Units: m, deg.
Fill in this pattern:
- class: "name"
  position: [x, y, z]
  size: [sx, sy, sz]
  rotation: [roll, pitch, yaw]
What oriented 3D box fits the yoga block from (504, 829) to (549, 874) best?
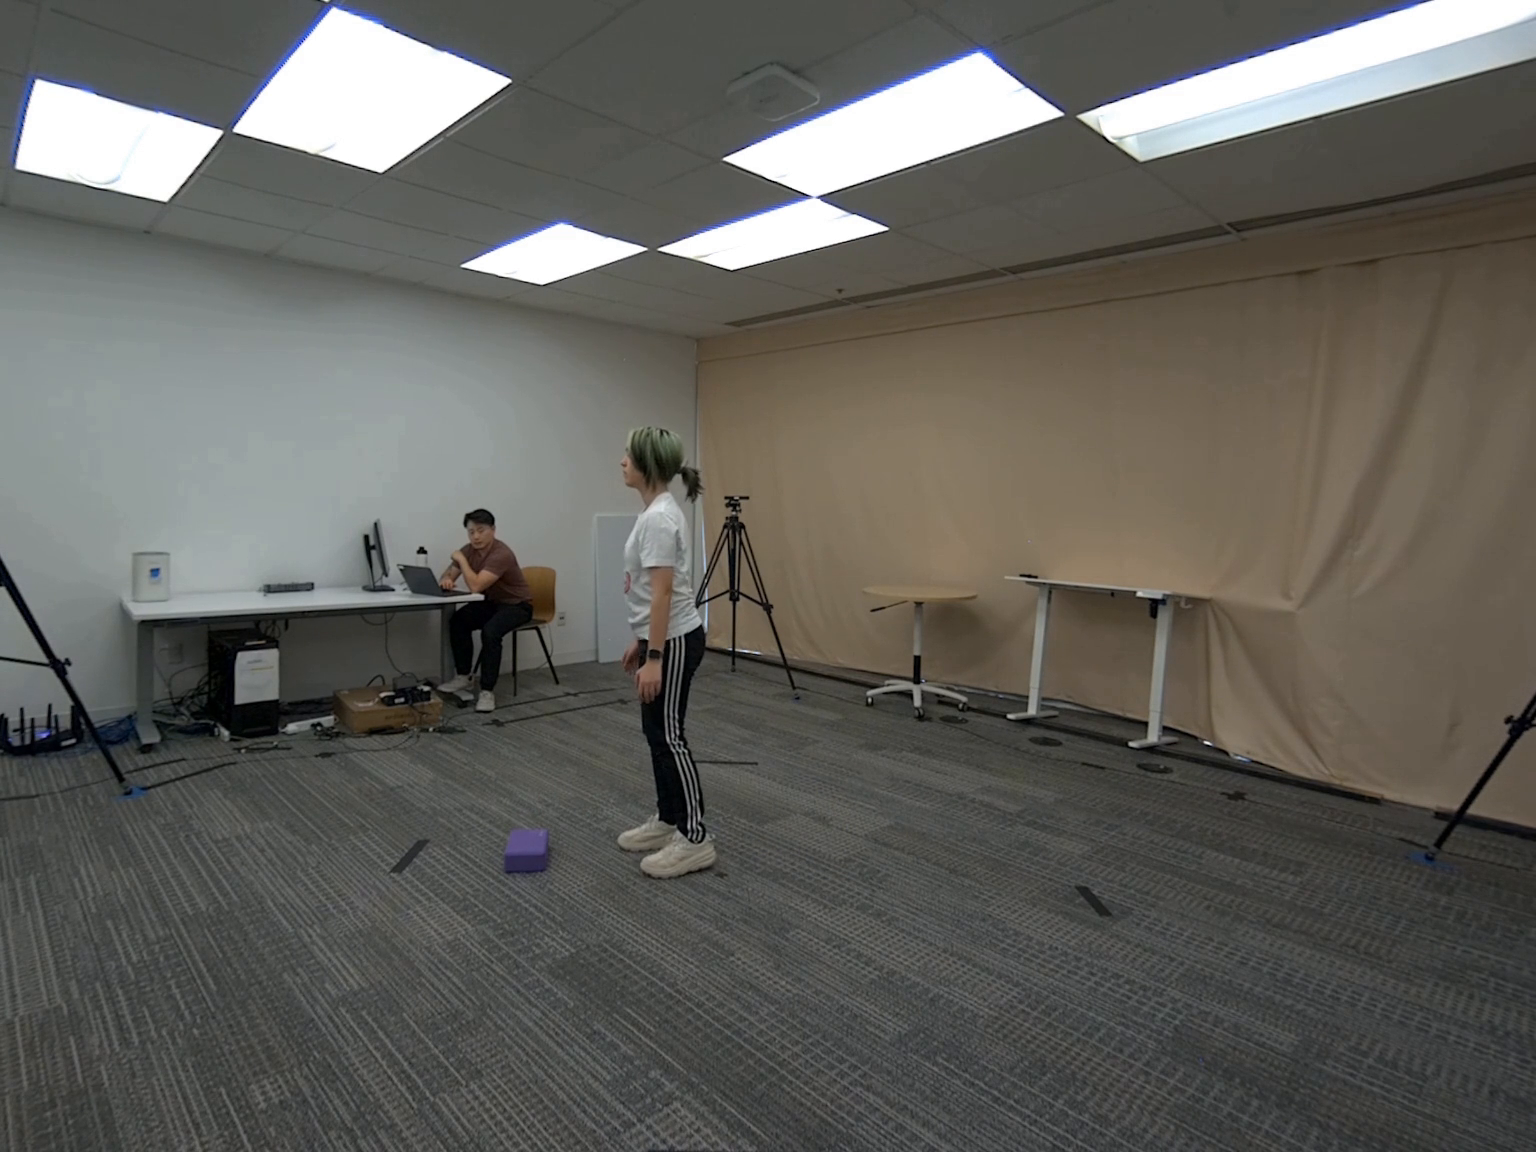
- class: "yoga block"
  position: [-0.919, 1.040, 3.190]
  size: [0.148, 0.076, 0.232]
  rotation: [1, 6, -10]
